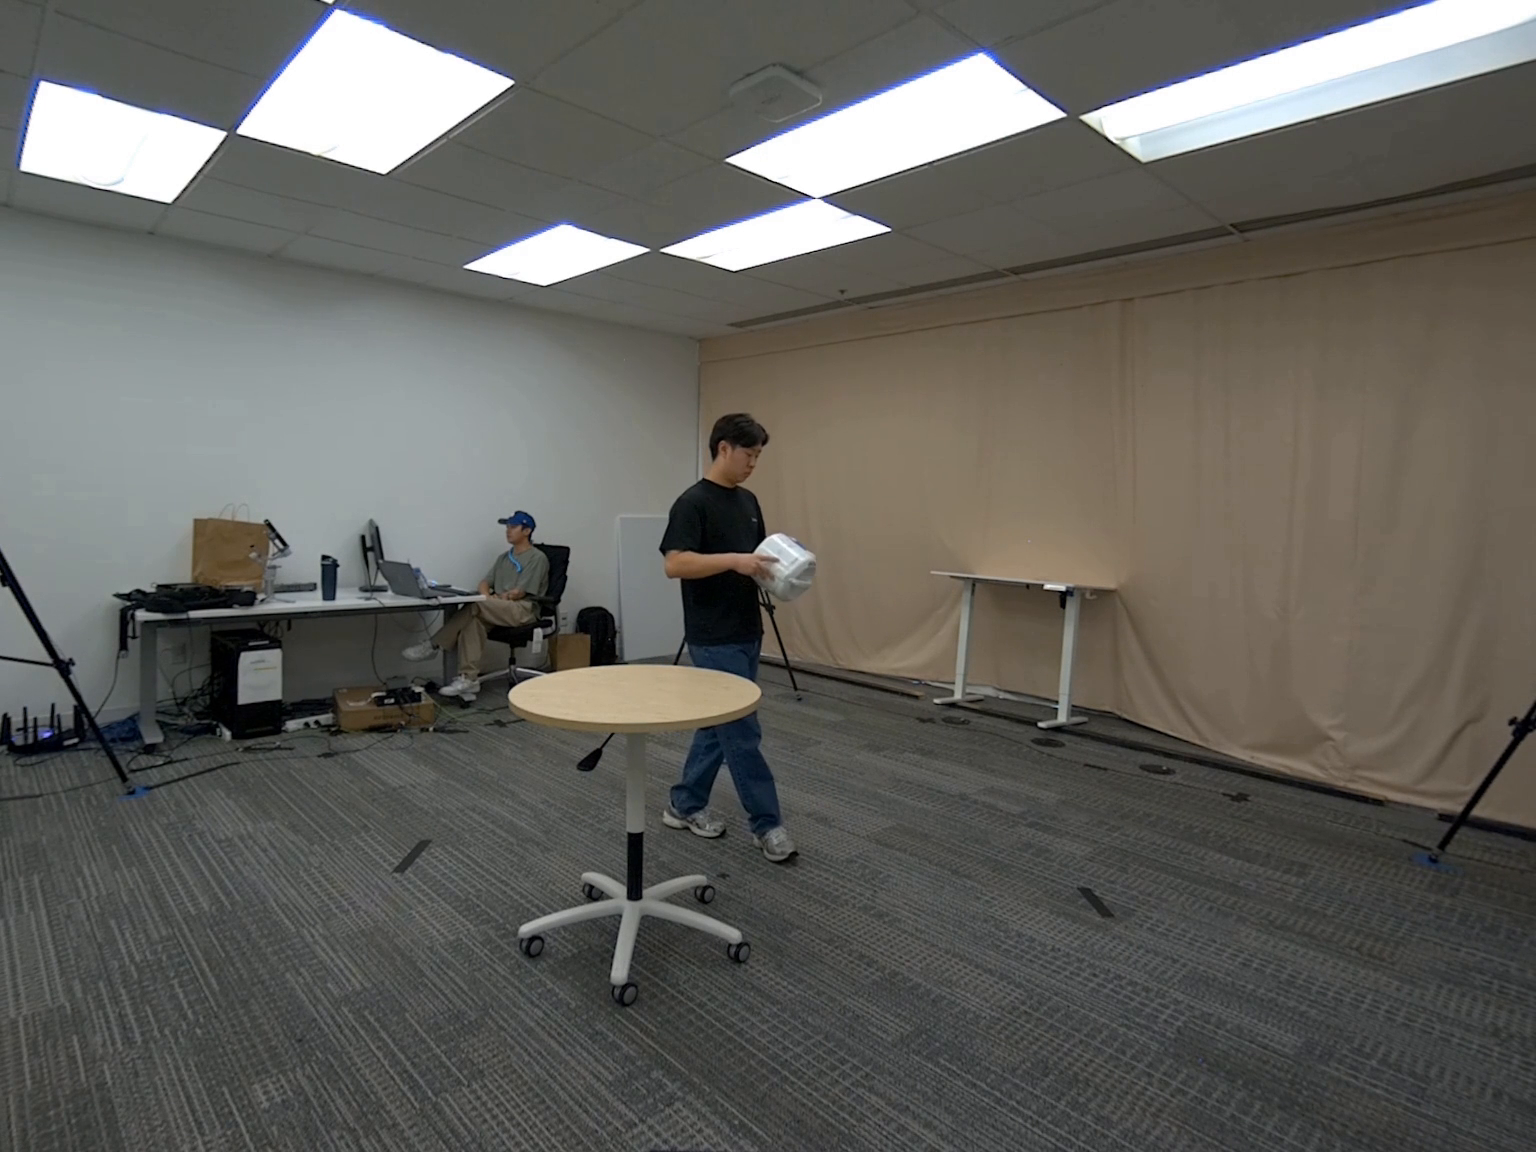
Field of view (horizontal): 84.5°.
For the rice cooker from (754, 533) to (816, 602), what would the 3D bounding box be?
[{"bbox_3d":[0.058,-0.026,3.259,0.239,0.217,0.215,39,14,29],"label":"rice cooker"}]
